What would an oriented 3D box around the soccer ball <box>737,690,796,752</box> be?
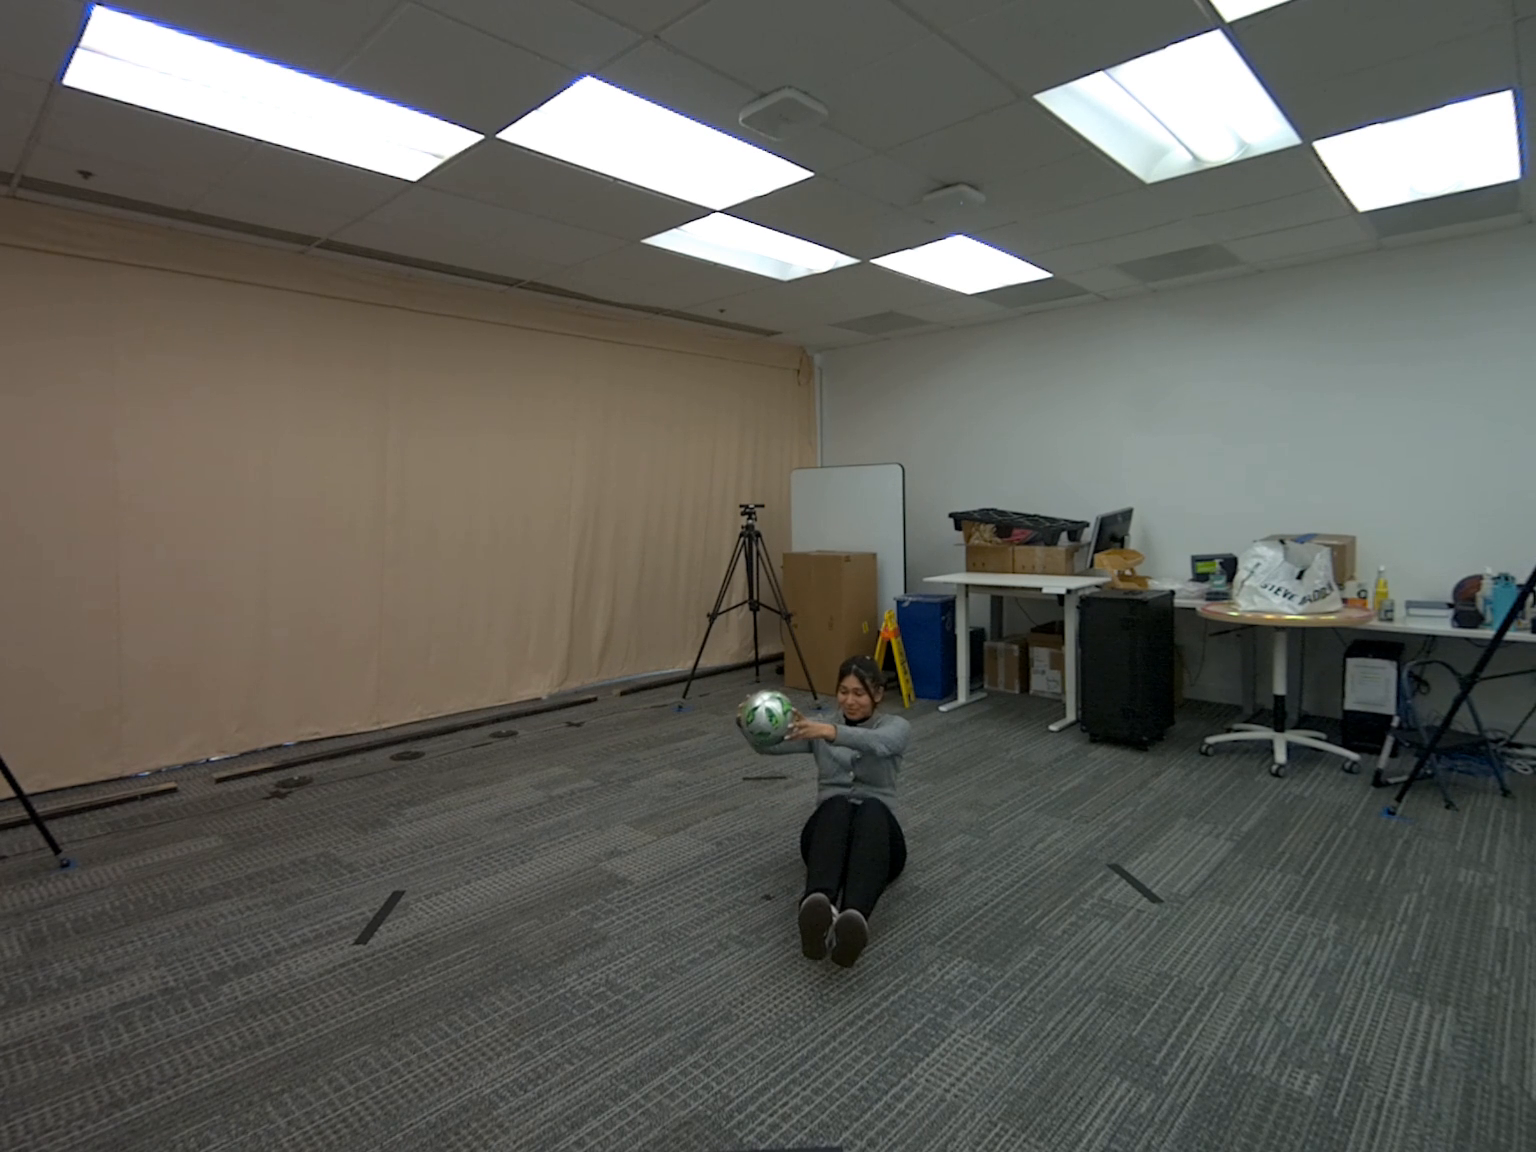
[{"bbox_3d":[0.005,0.492,2.832,0.187,0.187,0.188,-1,4,-2],"label":"soccer ball"}]
